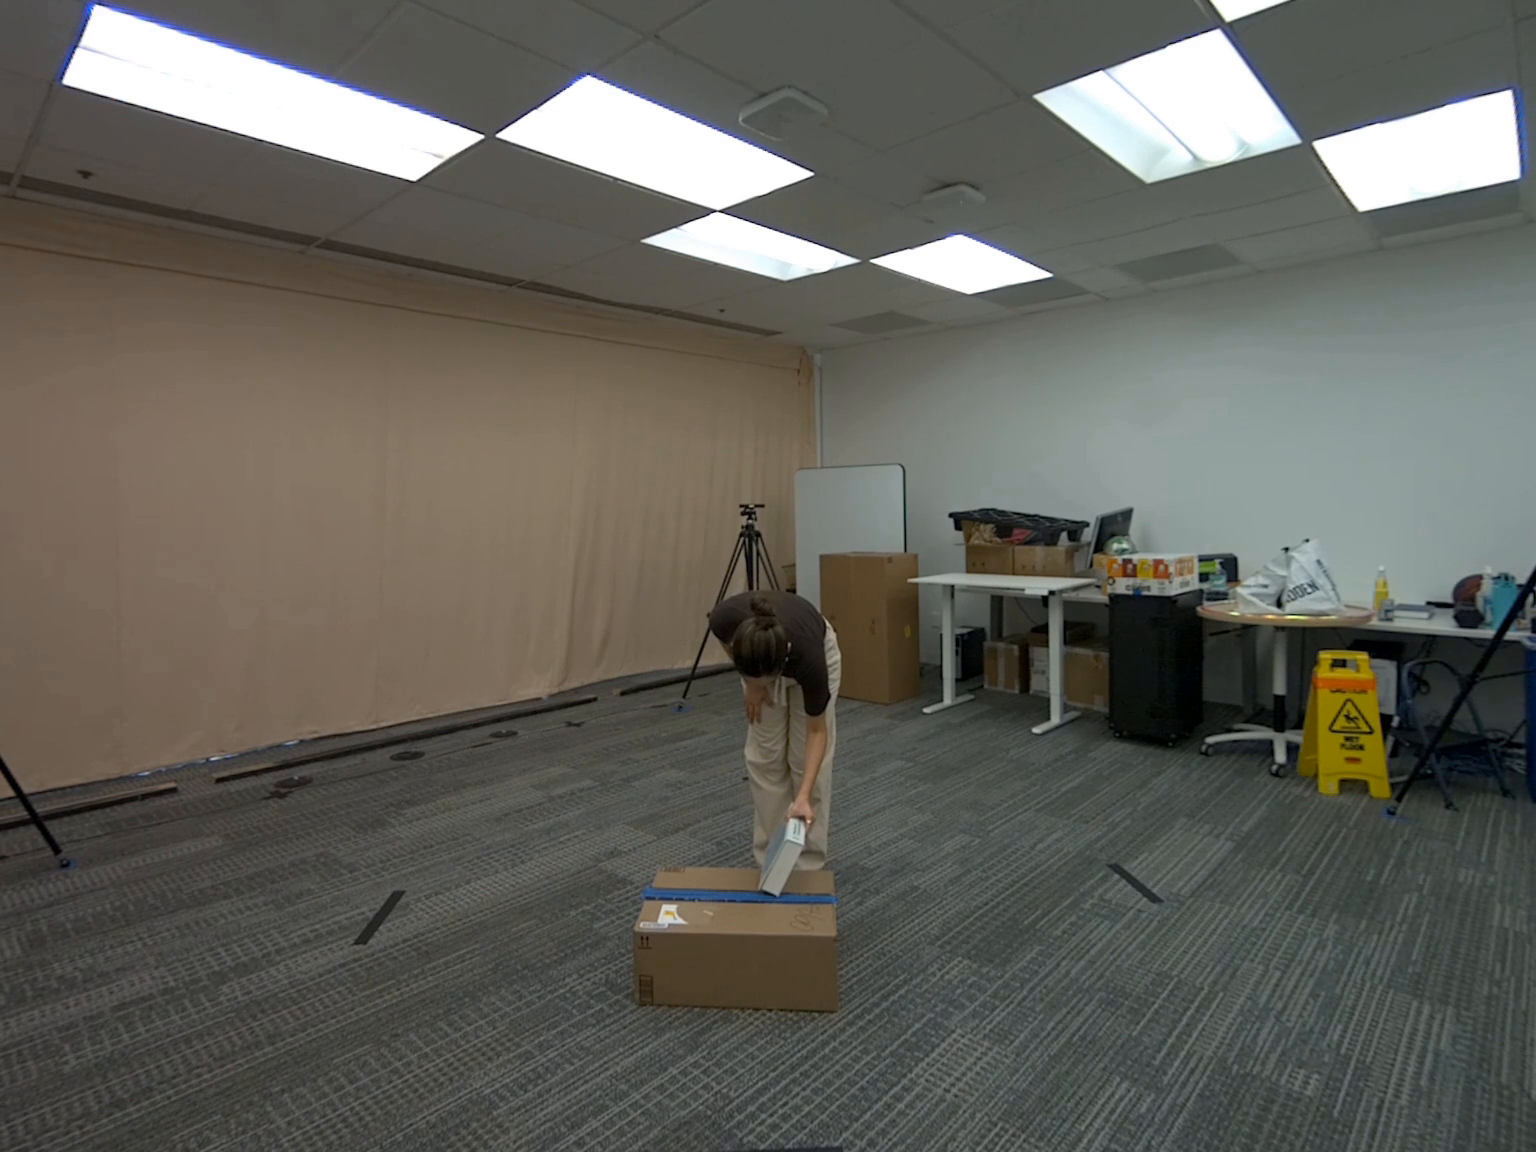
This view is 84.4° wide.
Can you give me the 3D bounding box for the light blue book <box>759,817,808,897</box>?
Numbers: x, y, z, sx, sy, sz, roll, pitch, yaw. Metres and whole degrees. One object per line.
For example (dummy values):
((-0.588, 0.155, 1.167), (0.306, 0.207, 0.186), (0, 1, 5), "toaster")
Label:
((0.052, 0.843, 2.628), (0.059, 0.191, 0.260), (27, 11, 1), "light blue book")
